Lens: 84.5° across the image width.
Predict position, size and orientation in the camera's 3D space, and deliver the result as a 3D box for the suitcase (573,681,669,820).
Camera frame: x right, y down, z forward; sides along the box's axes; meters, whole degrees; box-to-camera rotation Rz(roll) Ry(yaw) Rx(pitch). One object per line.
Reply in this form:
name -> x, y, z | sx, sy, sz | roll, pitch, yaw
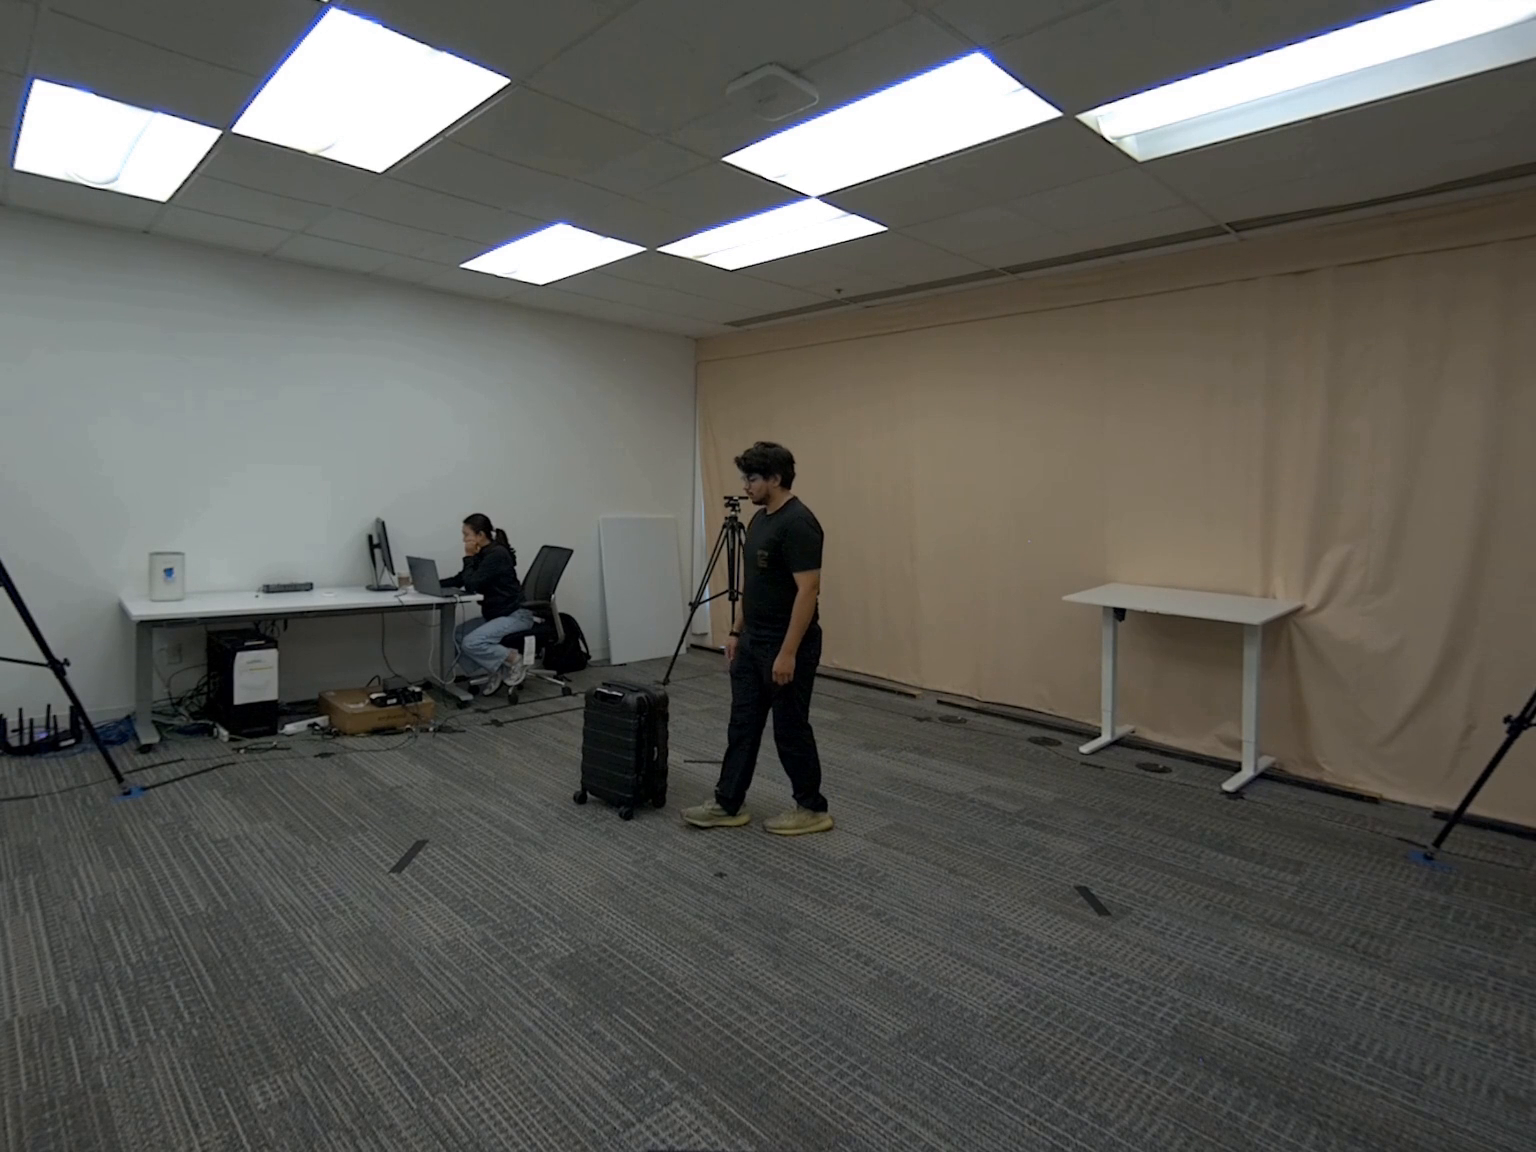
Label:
suitcase -> -0.652, 0.757, 3.800 | 0.384, 0.549, 0.242 | 5, 2, 36
